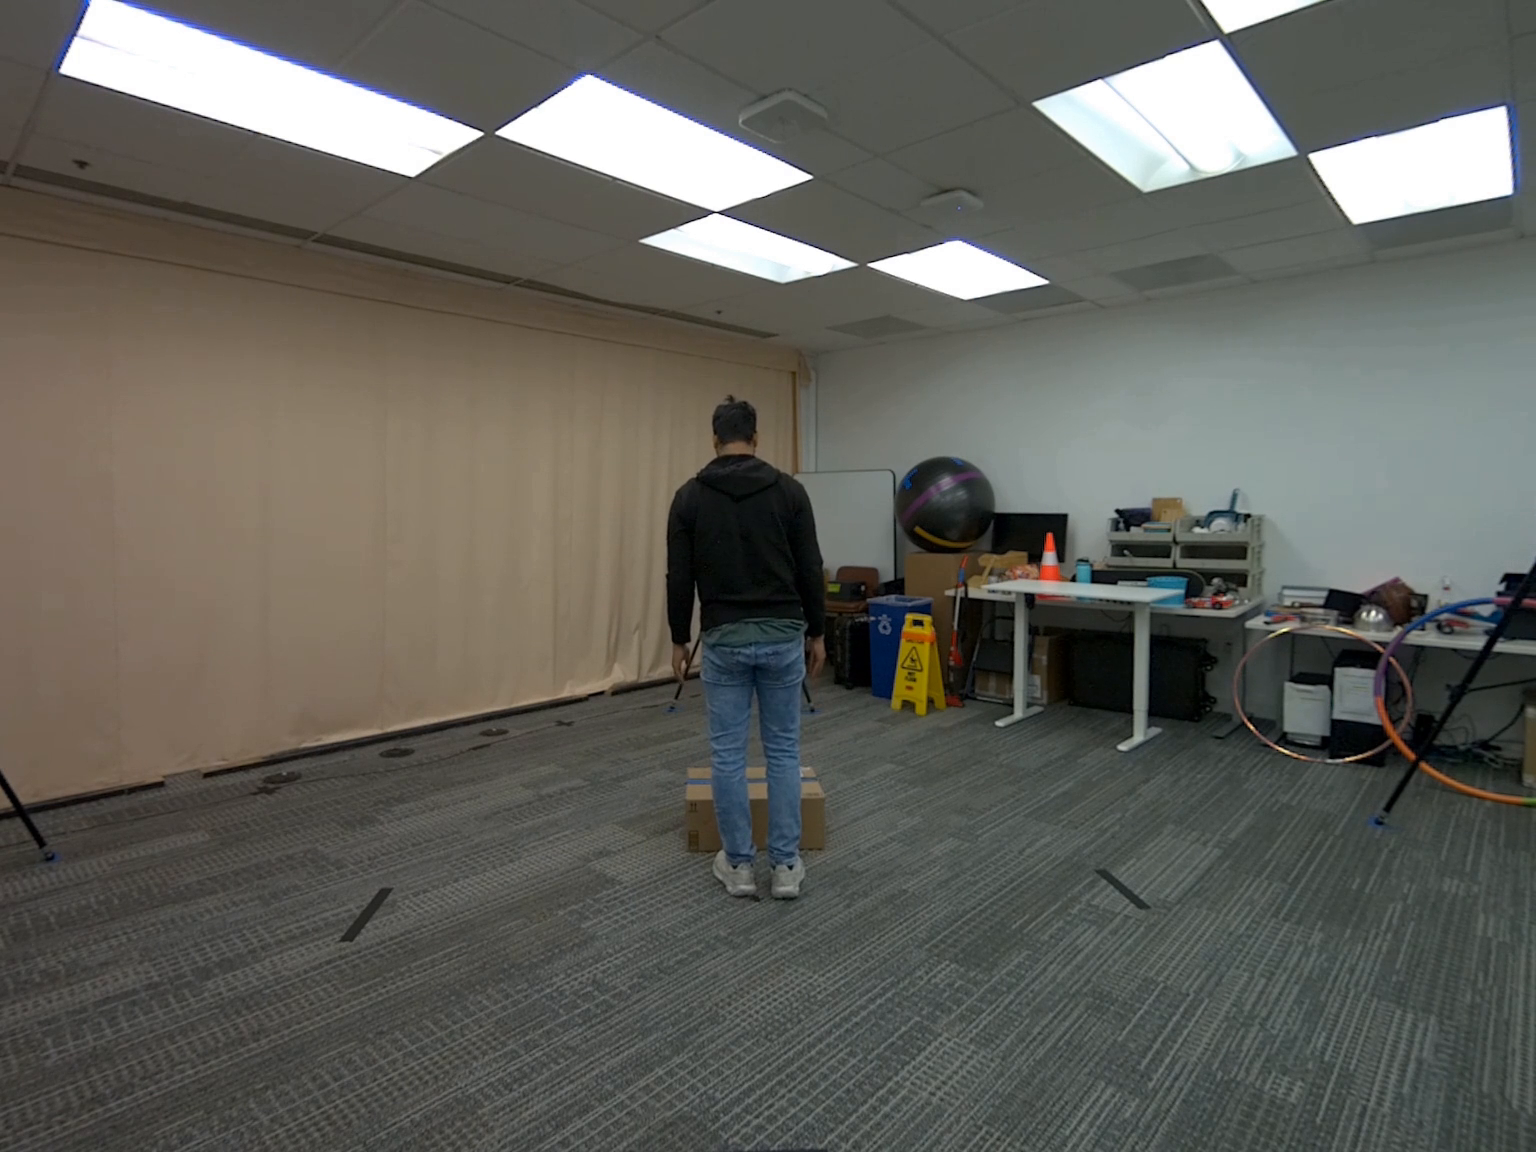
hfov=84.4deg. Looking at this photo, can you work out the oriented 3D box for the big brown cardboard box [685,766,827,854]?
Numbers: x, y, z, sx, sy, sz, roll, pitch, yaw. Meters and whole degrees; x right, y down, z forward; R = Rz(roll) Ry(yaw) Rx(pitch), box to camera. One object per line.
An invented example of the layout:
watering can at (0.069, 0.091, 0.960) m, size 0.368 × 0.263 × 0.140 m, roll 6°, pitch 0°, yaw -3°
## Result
big brown cardboard box at (-0.057, 0.985, 3.601) m, size 0.588 × 0.233 × 0.419 m, roll -1°, pitch 4°, yaw -3°
